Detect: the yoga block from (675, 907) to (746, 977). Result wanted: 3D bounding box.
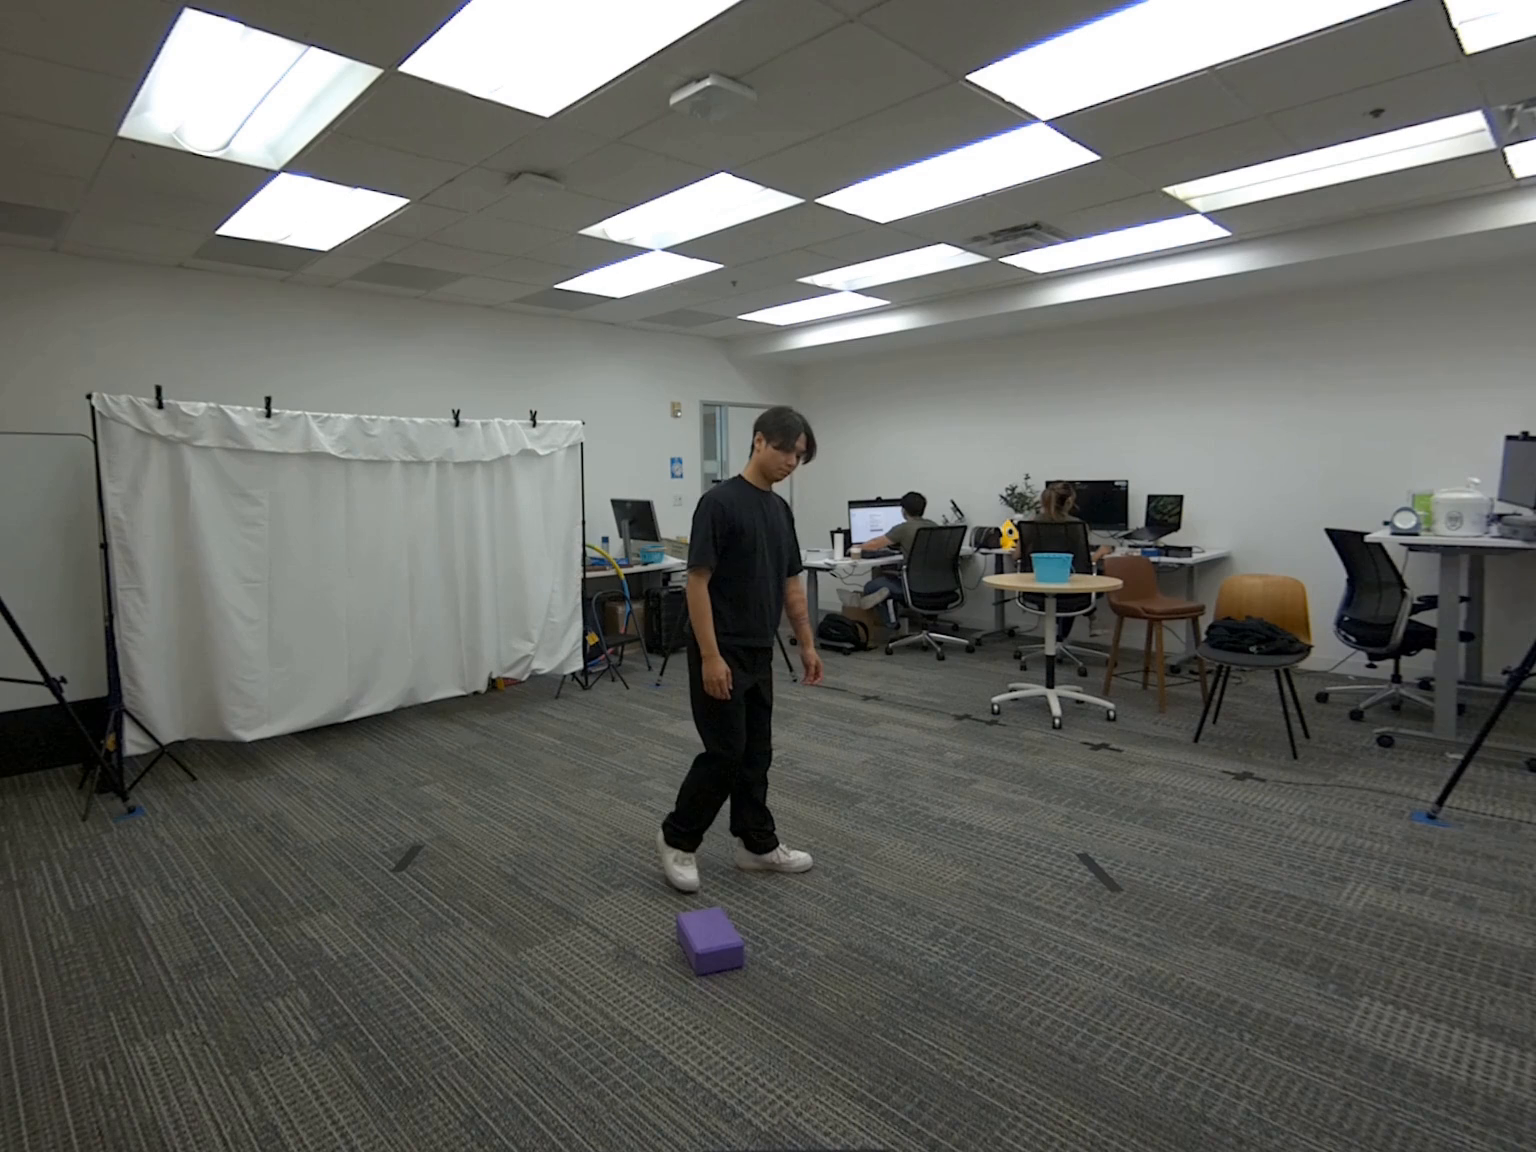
[{"bbox_3d":[-0.172,1.083,2.527,0.147,0.076,0.234,-2,6,-17],"label":"yoga block"}]
